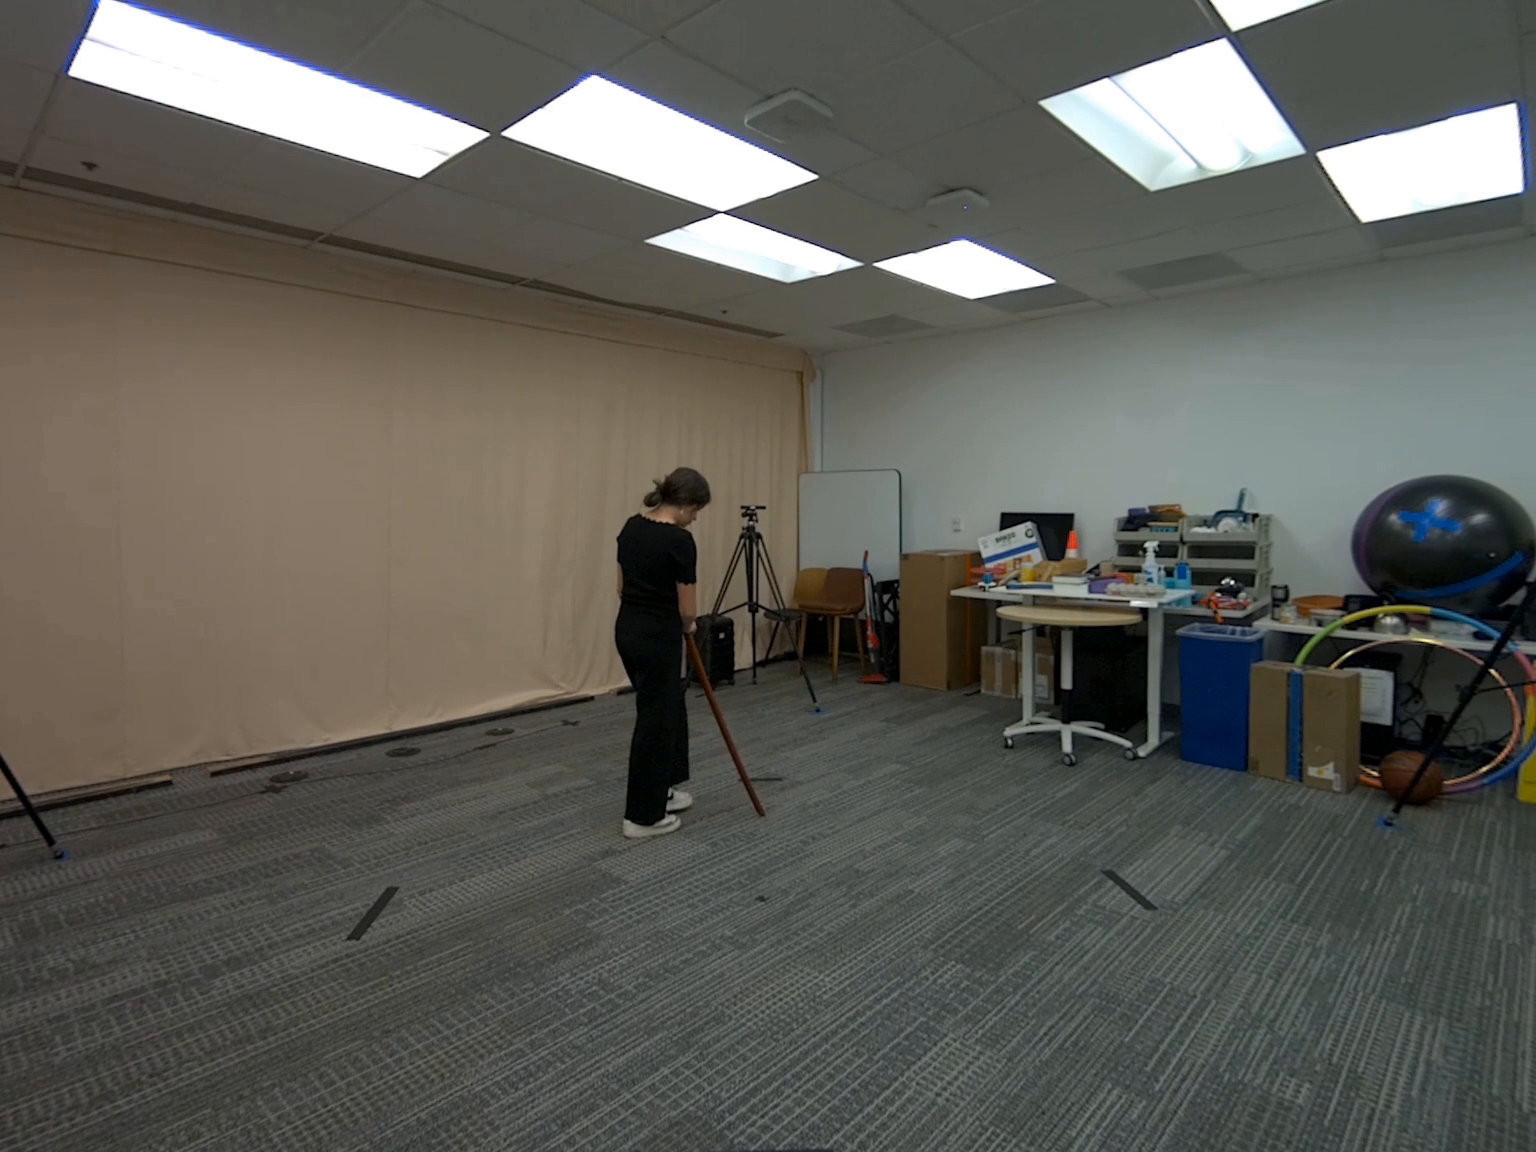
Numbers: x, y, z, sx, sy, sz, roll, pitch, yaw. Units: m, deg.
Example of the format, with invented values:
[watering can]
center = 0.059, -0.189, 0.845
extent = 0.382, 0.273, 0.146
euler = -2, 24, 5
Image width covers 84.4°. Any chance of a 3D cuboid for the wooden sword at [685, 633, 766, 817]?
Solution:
[wooden sword]
center = -0.217, 0.621, 3.779
extent = 0.051, 1.023, 0.024
euler = -22, 2, 3
